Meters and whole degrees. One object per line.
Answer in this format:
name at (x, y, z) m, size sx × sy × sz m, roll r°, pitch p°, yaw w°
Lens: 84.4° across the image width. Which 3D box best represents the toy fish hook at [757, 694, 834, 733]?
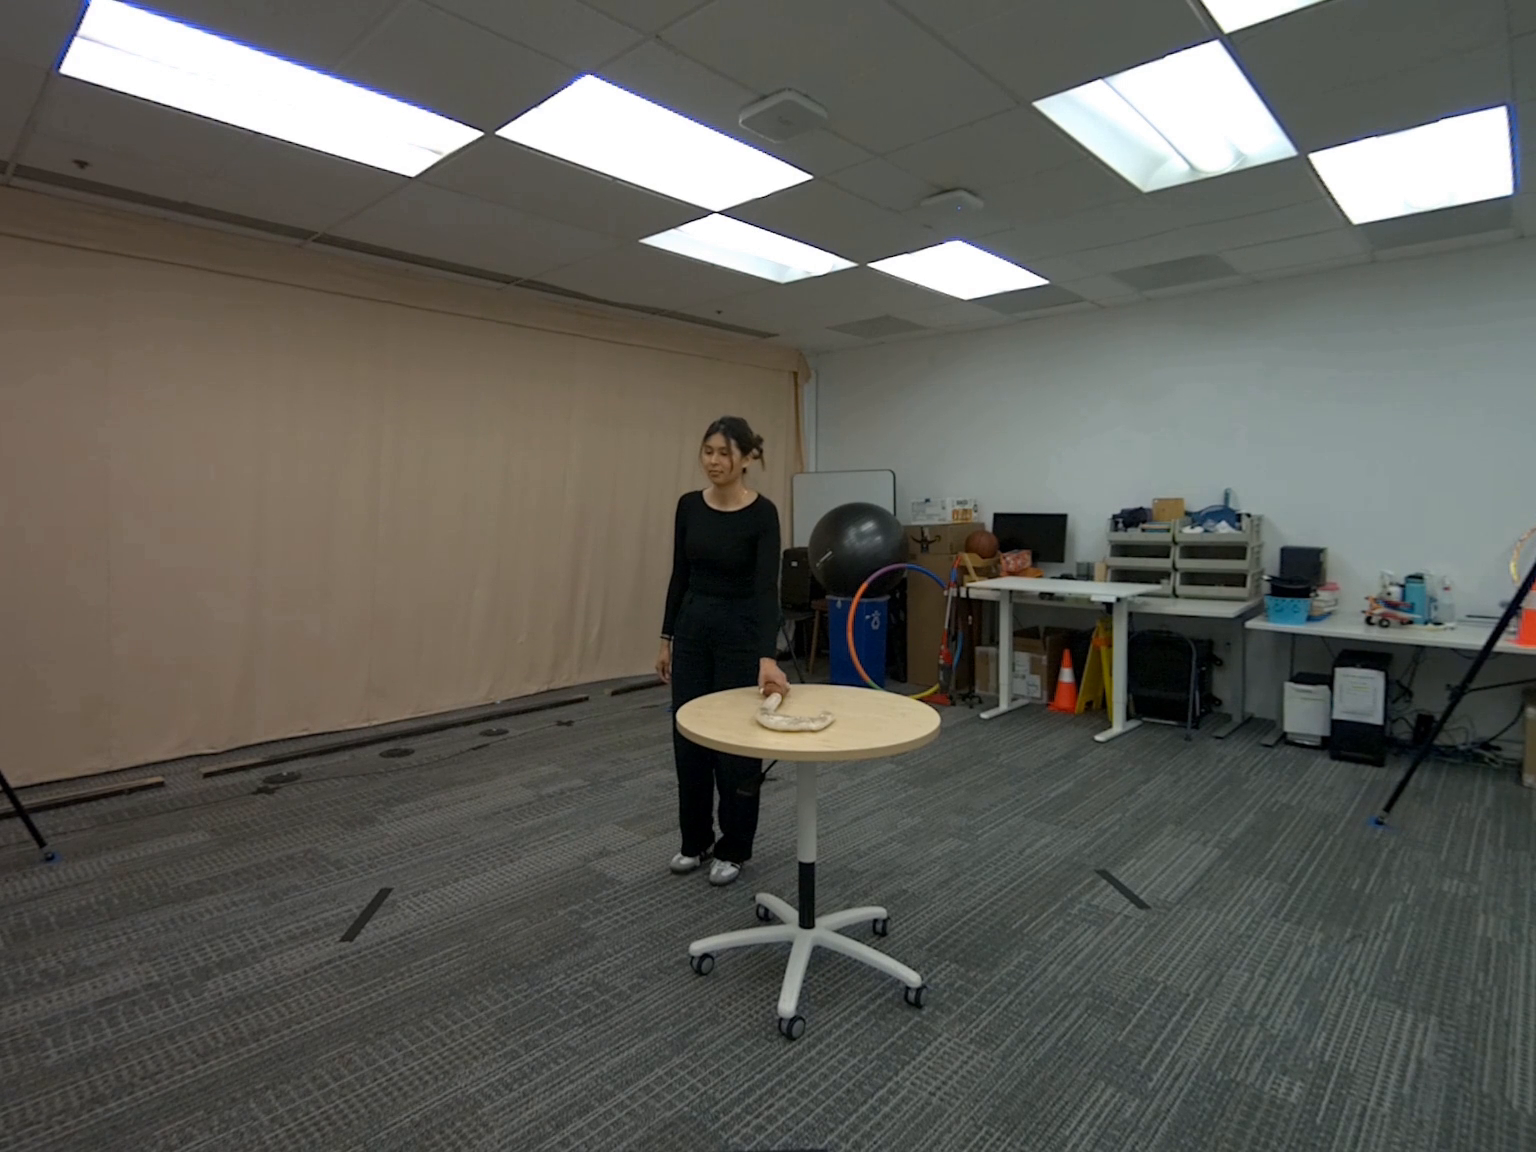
toy fish hook at (0.077, 0.380, 2.504) m, size 0.224 × 0.048 × 0.509 m, roll 5°, pitch 8°, yaw -2°
